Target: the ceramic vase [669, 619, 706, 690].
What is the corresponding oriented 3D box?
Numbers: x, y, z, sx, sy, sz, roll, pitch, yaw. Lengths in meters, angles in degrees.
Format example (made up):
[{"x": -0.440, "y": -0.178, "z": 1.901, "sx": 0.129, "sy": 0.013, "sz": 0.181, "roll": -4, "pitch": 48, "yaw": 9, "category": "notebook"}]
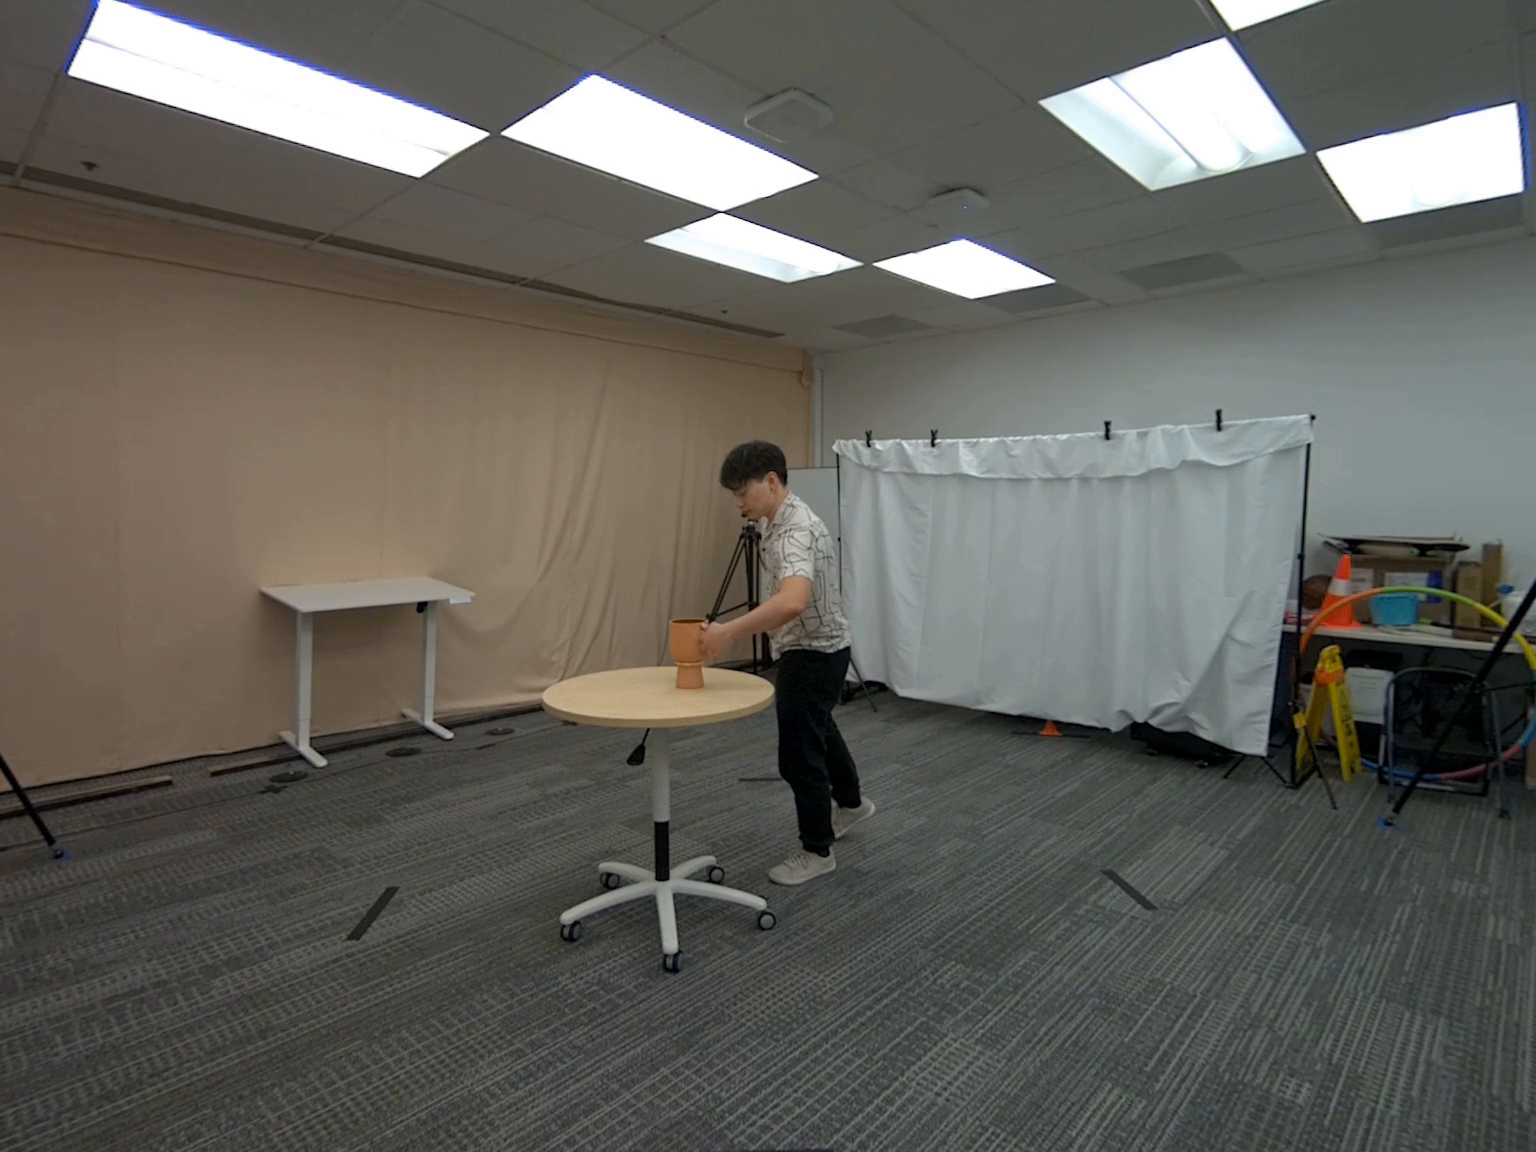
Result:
[{"x": -0.262, "y": 0.263, "z": 2.834, "sx": 0.134, "sy": 0.219, "sz": 0.160, "roll": 0, "pitch": 4, "yaw": -6, "category": "ceramic vase"}]
